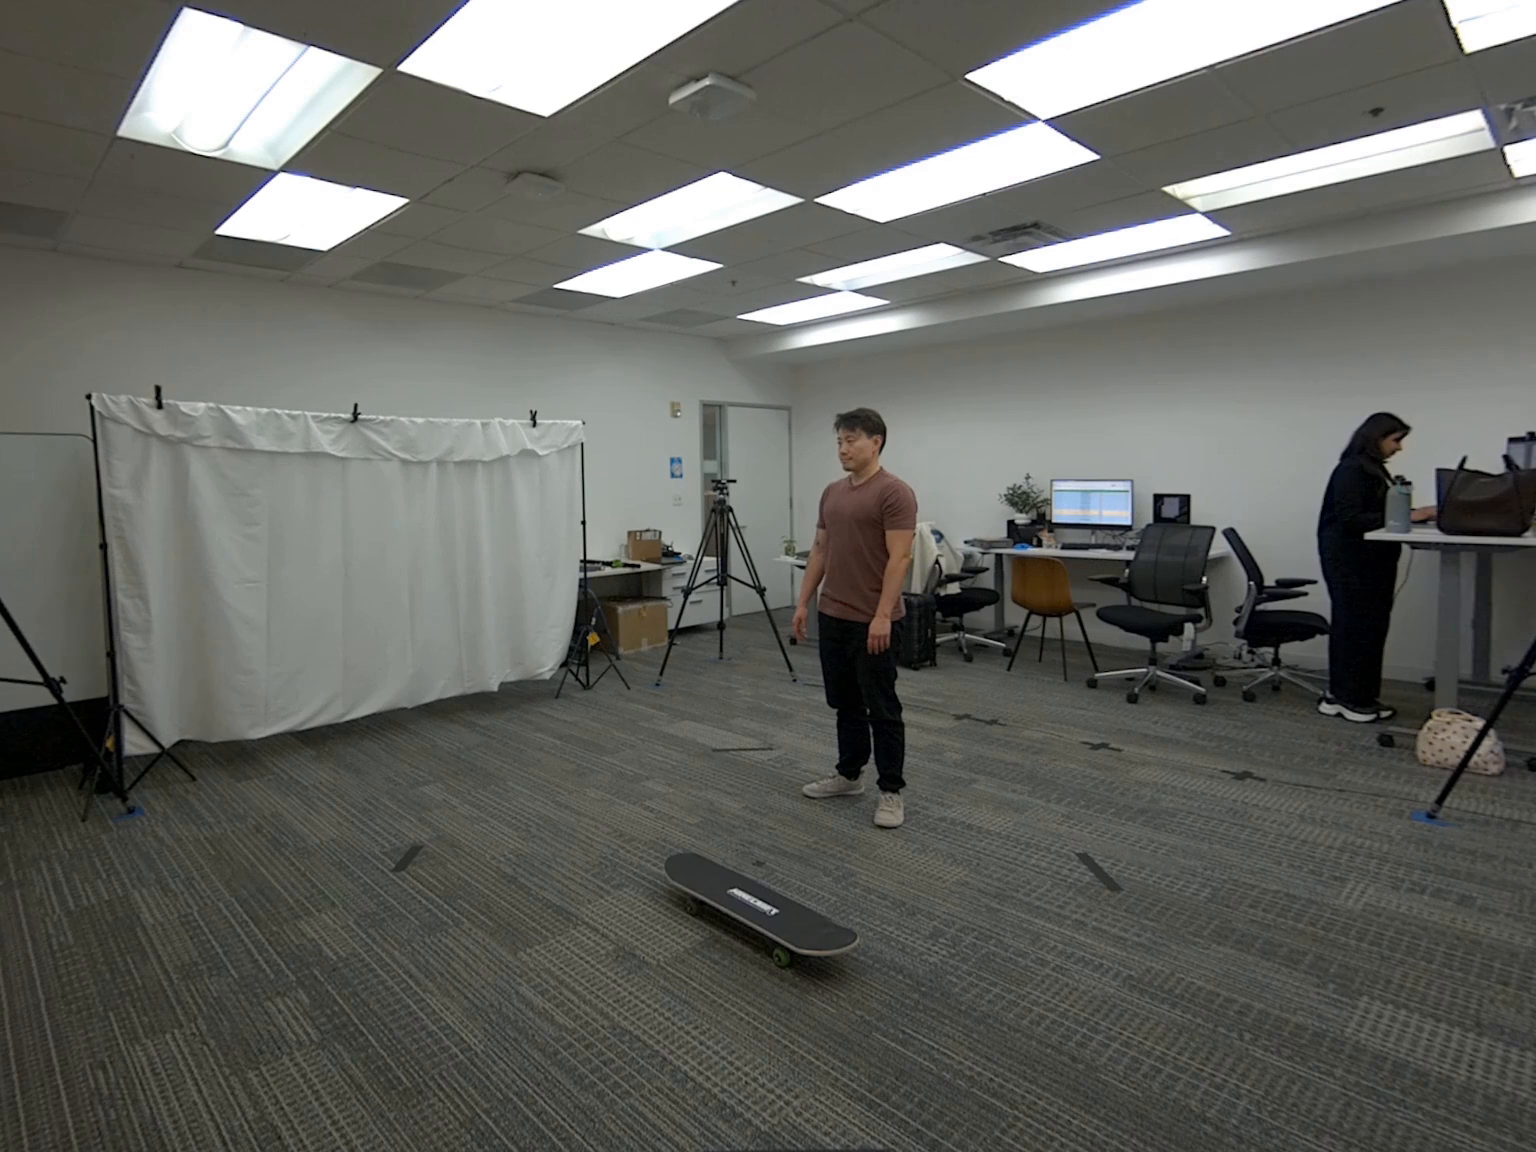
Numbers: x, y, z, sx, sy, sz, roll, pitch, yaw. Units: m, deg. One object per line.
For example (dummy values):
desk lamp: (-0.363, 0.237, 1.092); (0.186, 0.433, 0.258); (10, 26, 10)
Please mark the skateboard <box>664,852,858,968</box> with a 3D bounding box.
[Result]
skateboard: (-0.040, 1.047, 2.652); (0.188, 0.110, 0.810); (-5, 7, -43)
